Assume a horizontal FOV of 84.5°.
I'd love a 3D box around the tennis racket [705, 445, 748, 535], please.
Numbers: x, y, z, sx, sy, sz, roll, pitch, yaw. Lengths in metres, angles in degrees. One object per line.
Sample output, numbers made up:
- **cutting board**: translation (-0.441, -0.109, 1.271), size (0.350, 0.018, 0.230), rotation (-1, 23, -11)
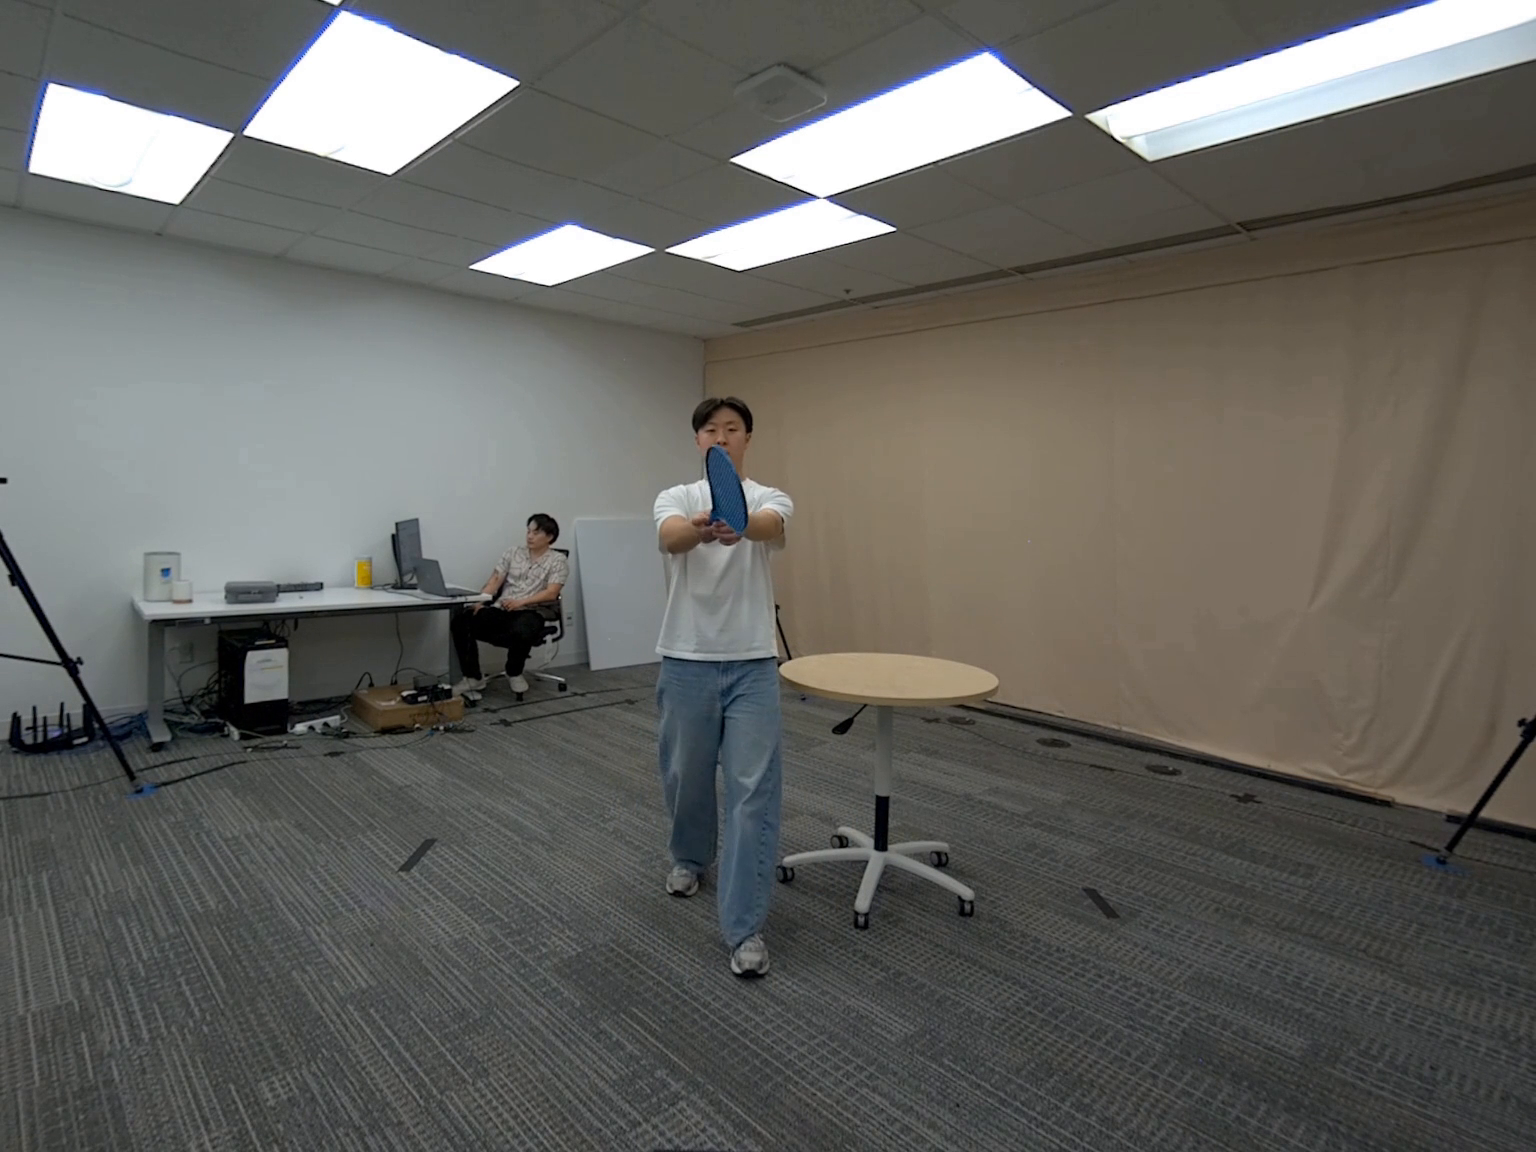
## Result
- **tennis racket**: translation (-0.124, -0.176, 2.047), size (0.031, 0.216, 0.431), rotation (-22, -9, -15)
